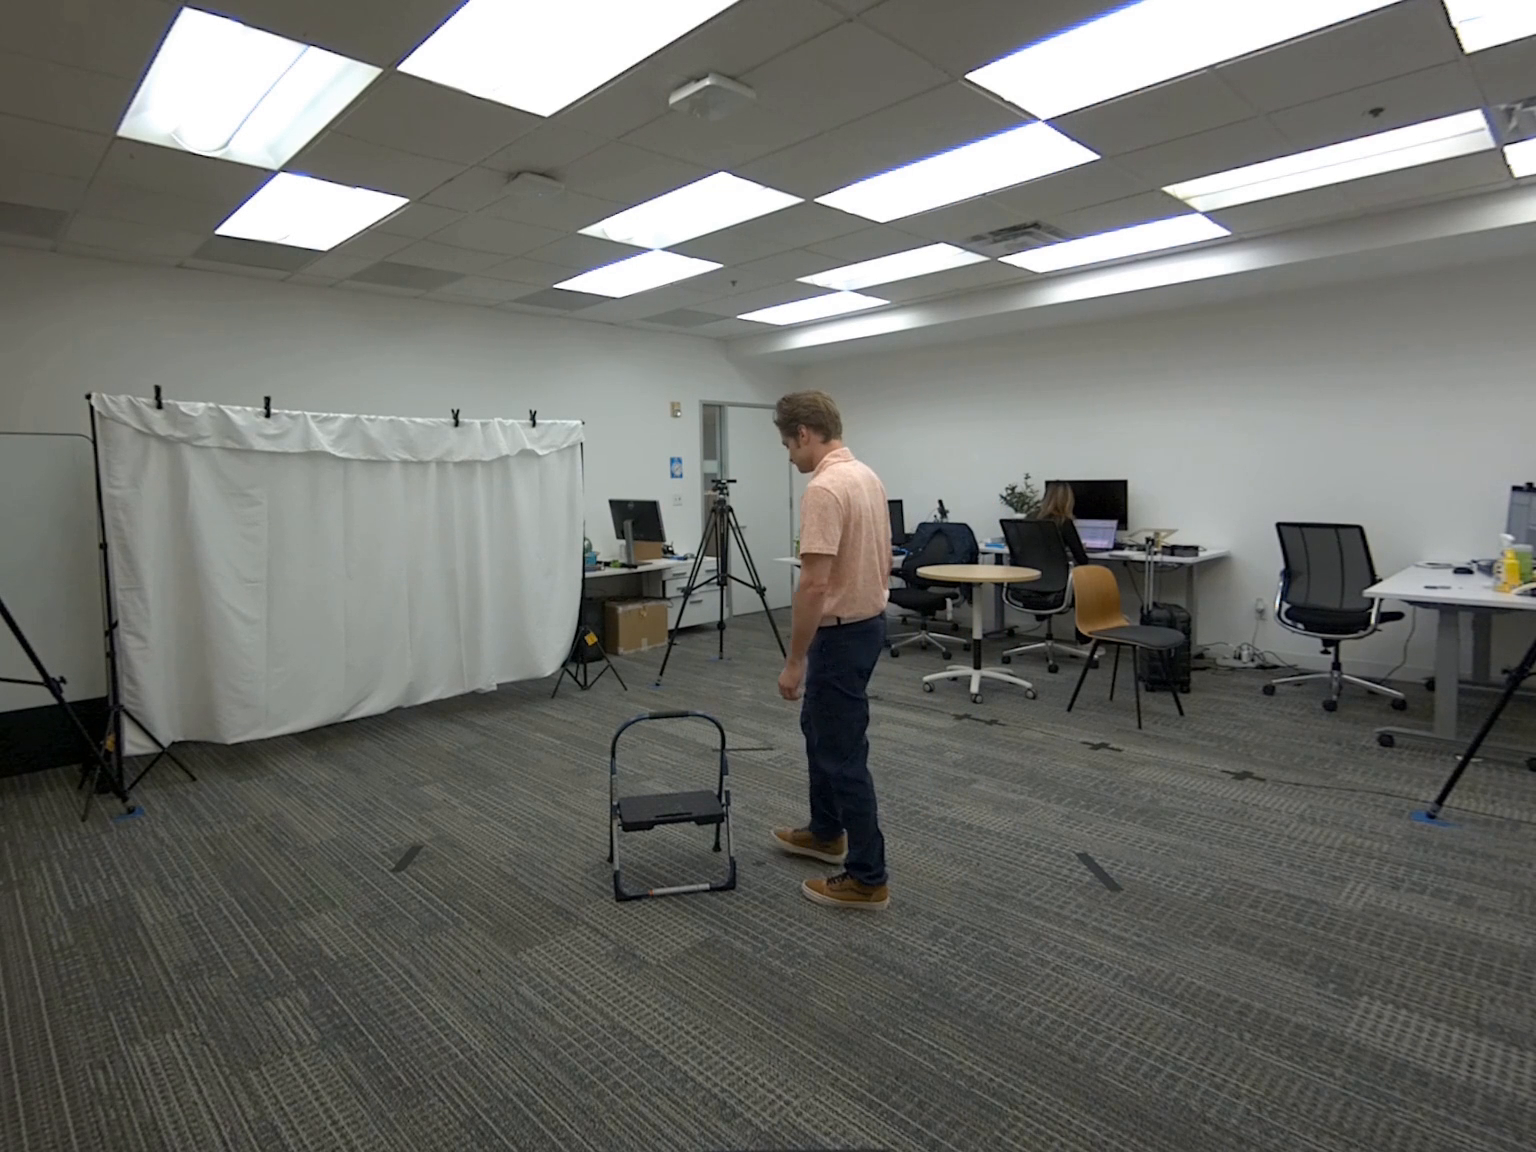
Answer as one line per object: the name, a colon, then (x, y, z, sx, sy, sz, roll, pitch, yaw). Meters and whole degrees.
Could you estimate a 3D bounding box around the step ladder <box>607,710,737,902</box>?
step ladder: (-0.350, 0.759, 3.026, 0.425, 0.604, 0.355, -2, 4, -13)
